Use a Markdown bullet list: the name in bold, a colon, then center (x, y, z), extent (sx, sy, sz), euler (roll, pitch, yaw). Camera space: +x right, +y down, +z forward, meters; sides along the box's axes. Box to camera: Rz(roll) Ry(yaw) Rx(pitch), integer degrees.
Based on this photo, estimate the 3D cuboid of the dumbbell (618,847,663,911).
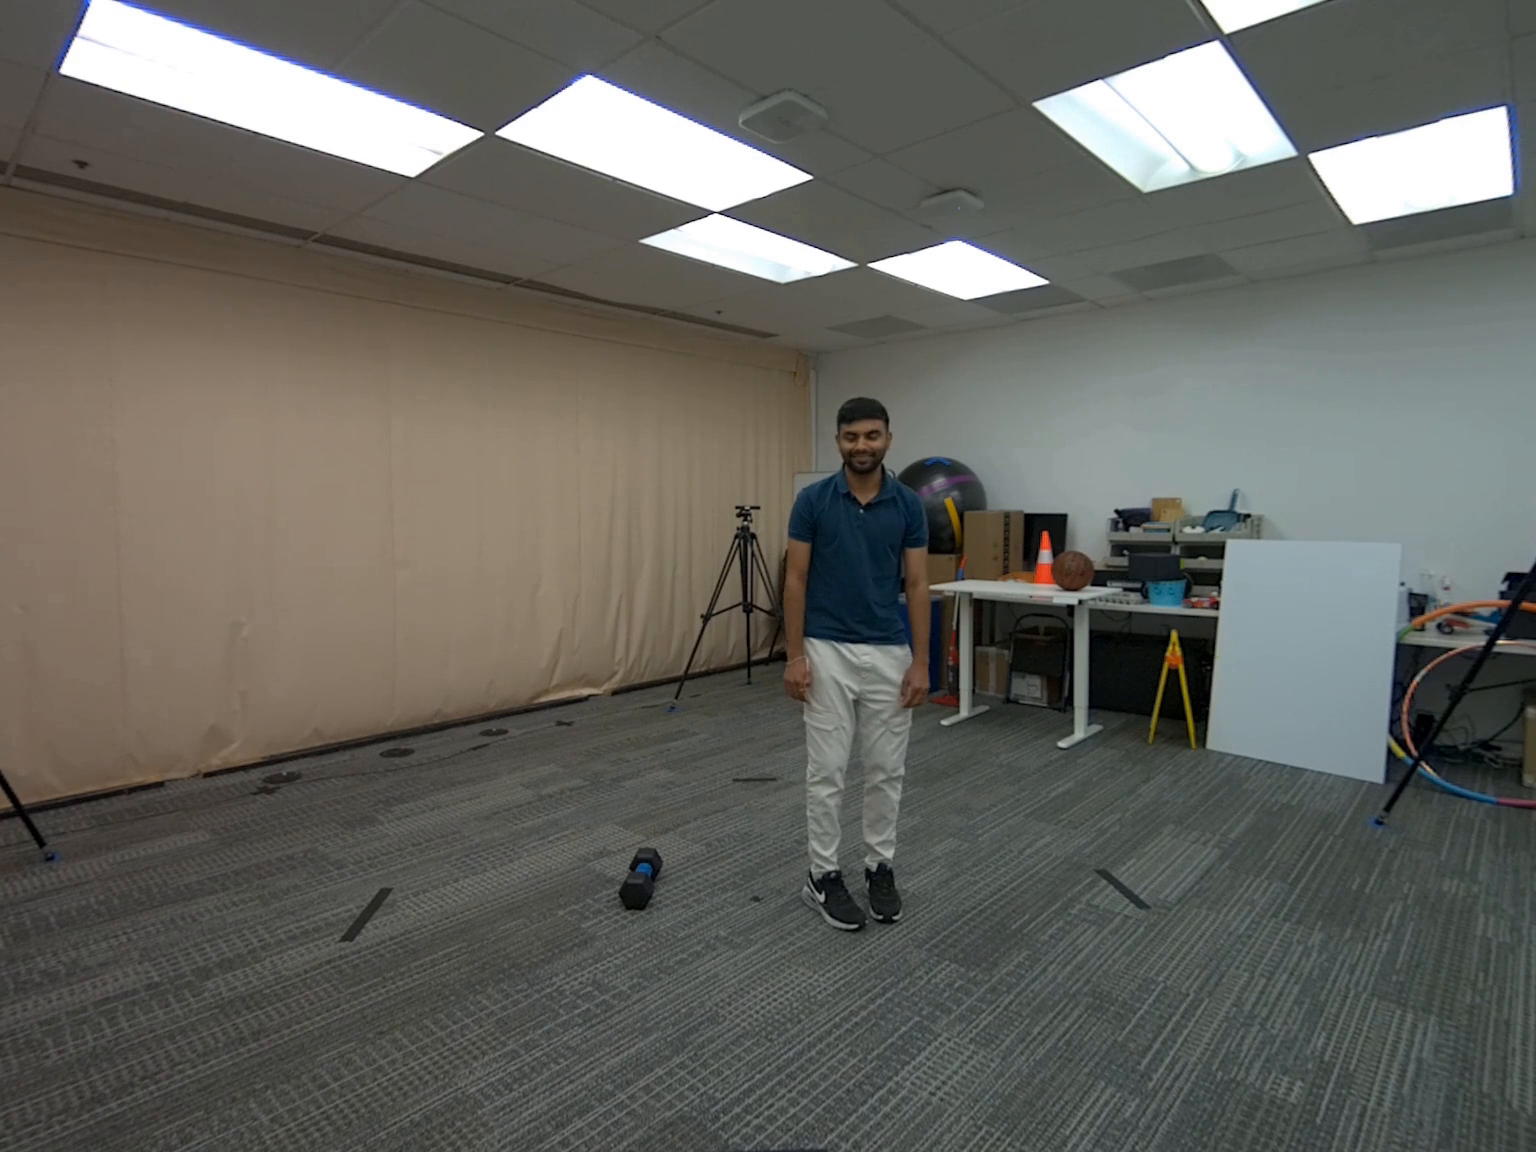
- **dumbbell**: center (-0.454, 1.091, 3.042), extent (0.109, 0.122, 0.294), euler (-31, 4, 2)
